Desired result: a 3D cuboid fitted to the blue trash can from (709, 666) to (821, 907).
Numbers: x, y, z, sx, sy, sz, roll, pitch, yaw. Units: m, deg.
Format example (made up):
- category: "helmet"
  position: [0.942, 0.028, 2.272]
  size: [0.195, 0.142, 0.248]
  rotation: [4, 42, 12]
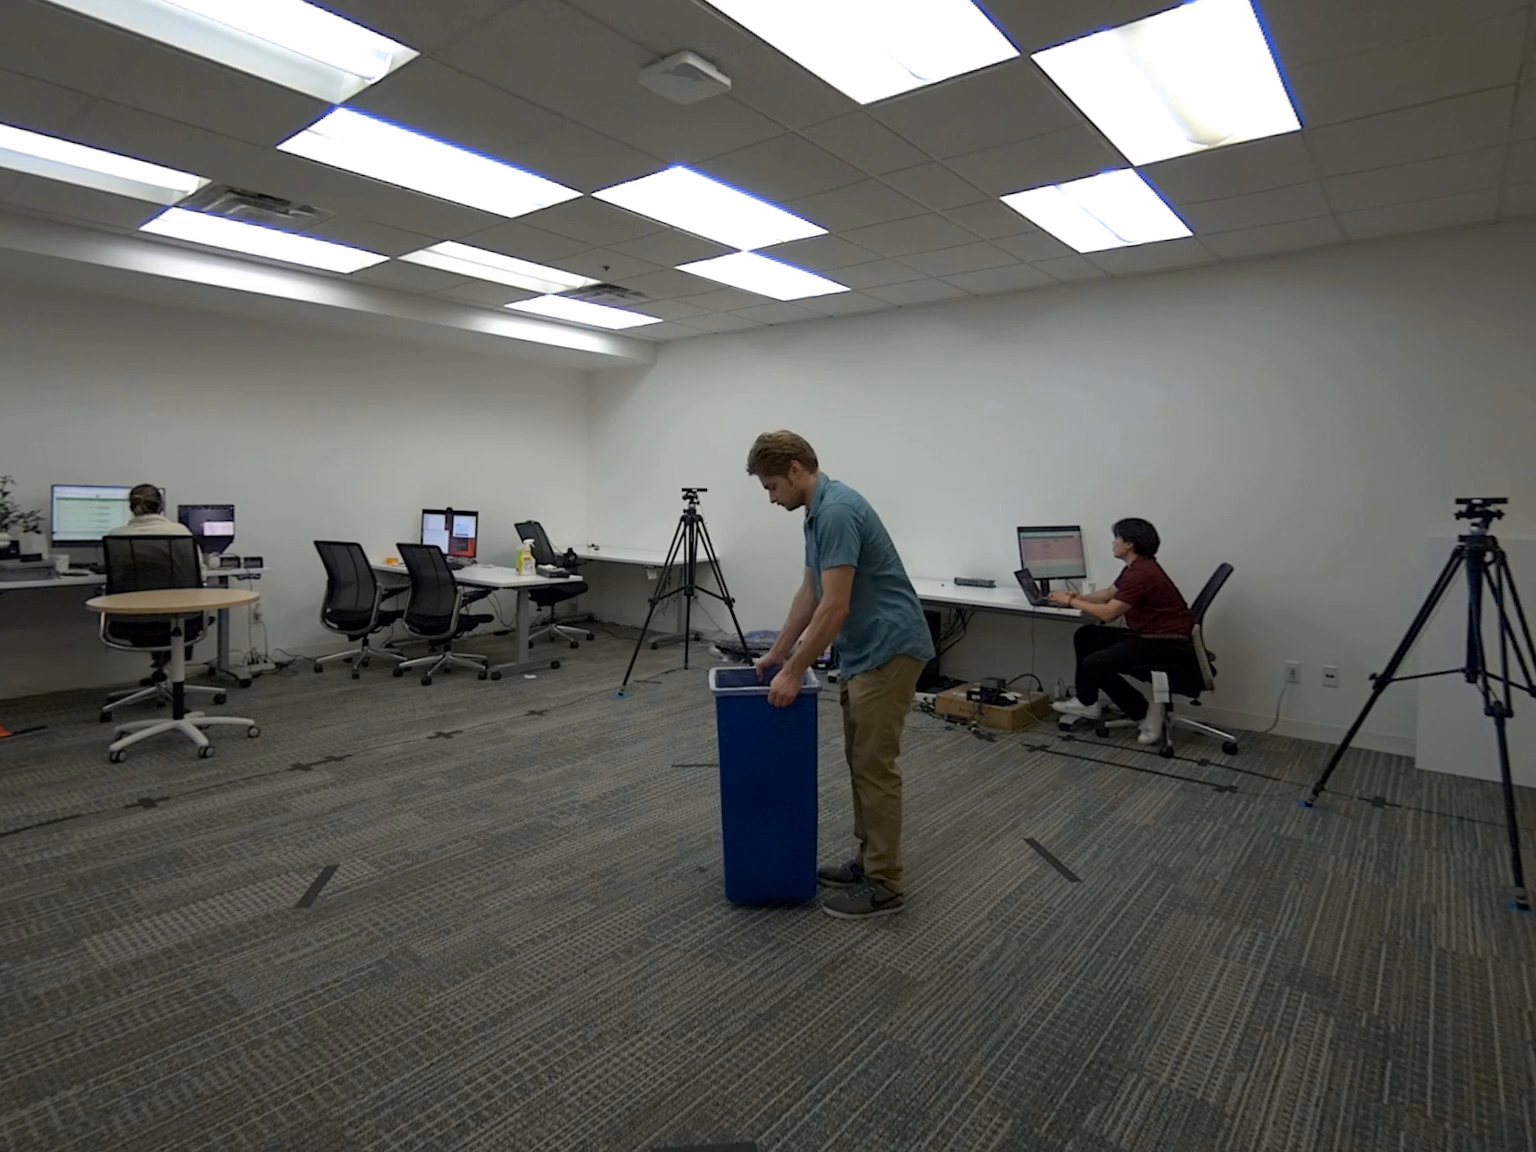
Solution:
- category: "blue trash can"
  position: [-0.014, 0.699, 2.950]
  size: [0.377, 0.711, 0.377]
  rotation: [-1, 3, -4]
